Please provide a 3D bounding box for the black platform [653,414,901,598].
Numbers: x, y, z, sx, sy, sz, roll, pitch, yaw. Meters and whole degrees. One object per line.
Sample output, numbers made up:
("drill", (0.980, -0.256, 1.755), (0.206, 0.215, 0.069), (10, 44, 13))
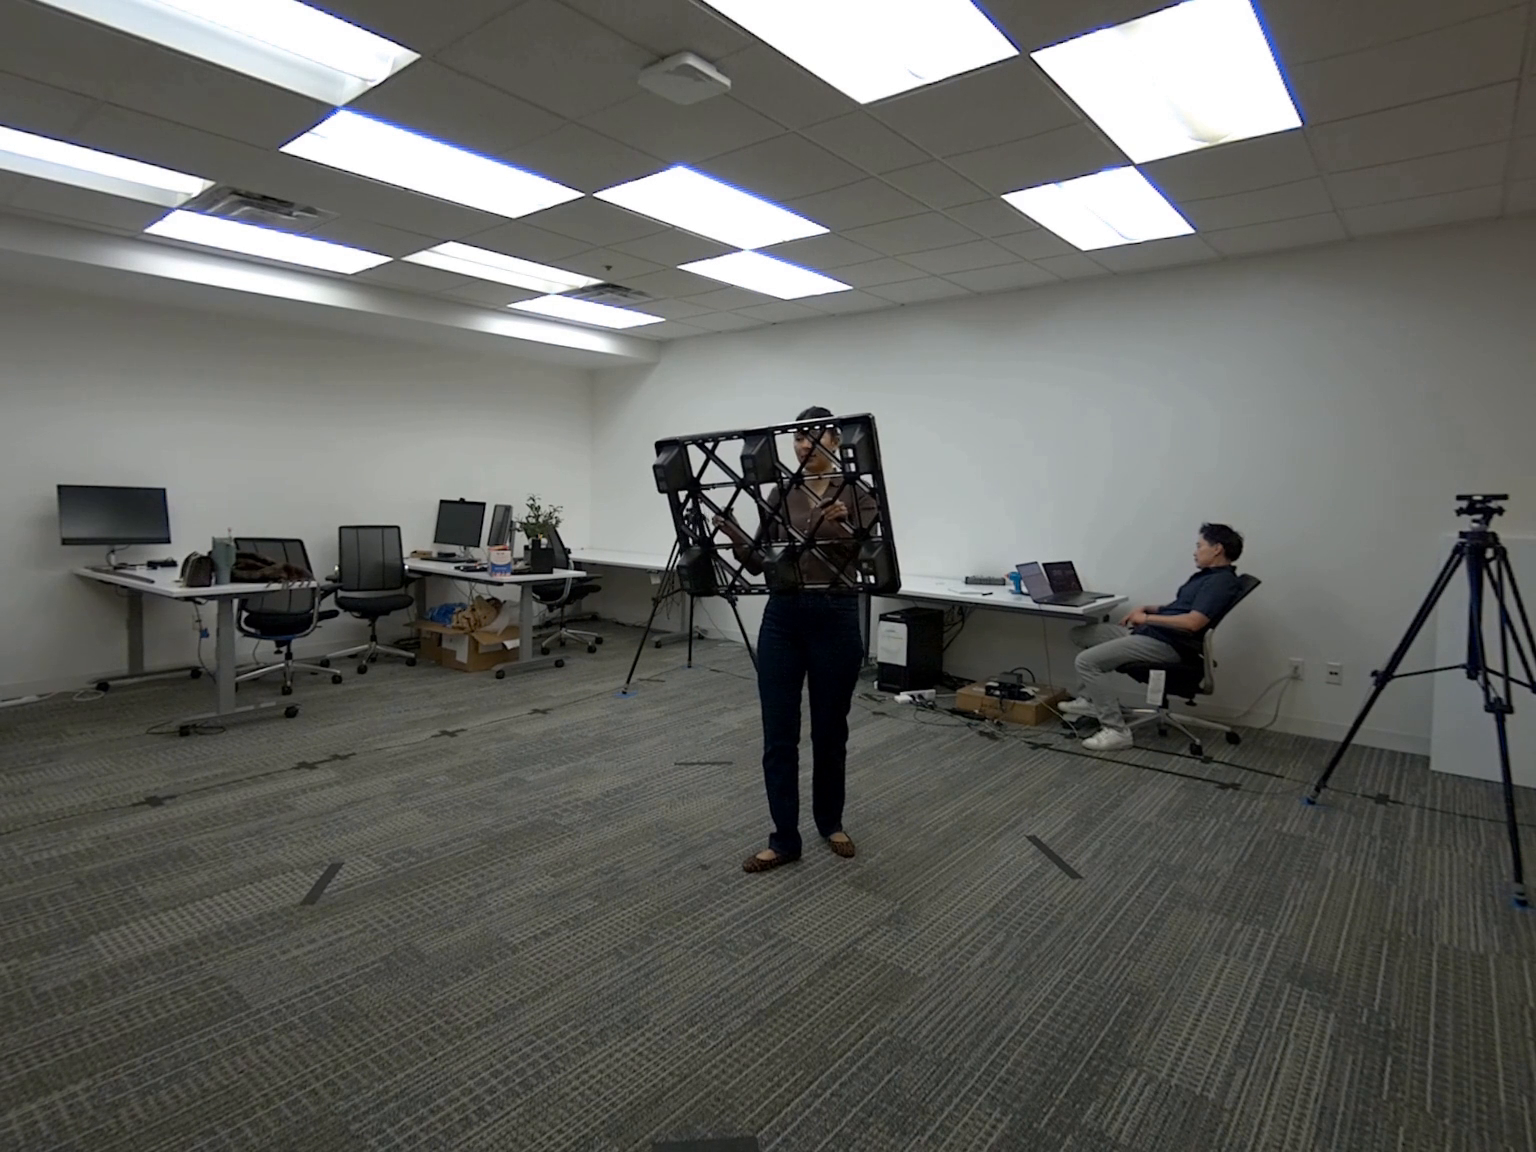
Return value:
("black platform", (-0.007, -0.204, 2.856), (0.826, 0.594, 0.142), (-2, 19, 28))
